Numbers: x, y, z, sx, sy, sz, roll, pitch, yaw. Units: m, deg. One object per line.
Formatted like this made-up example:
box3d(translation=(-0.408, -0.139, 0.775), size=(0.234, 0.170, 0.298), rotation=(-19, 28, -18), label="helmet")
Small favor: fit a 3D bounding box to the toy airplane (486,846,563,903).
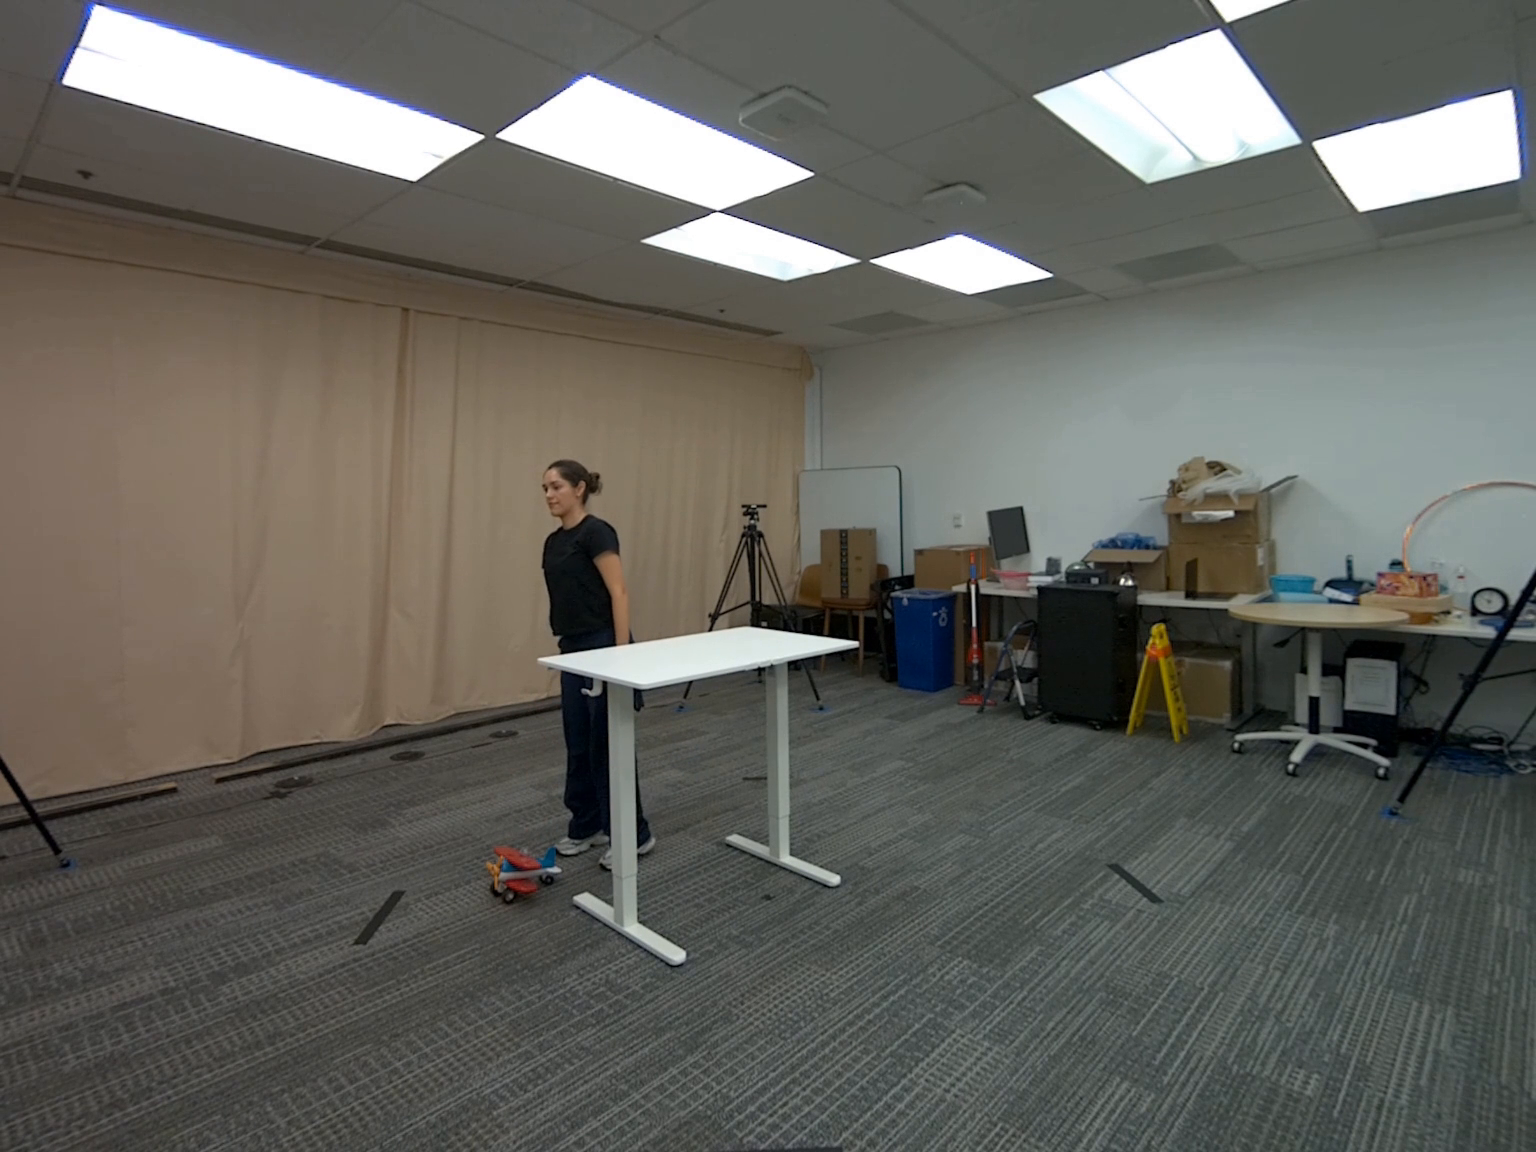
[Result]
box3d(translation=(-0.902, 1.072, 3.088), size=(0.256, 0.156, 0.255), rotation=(0, 5, 18), label="toy airplane")
